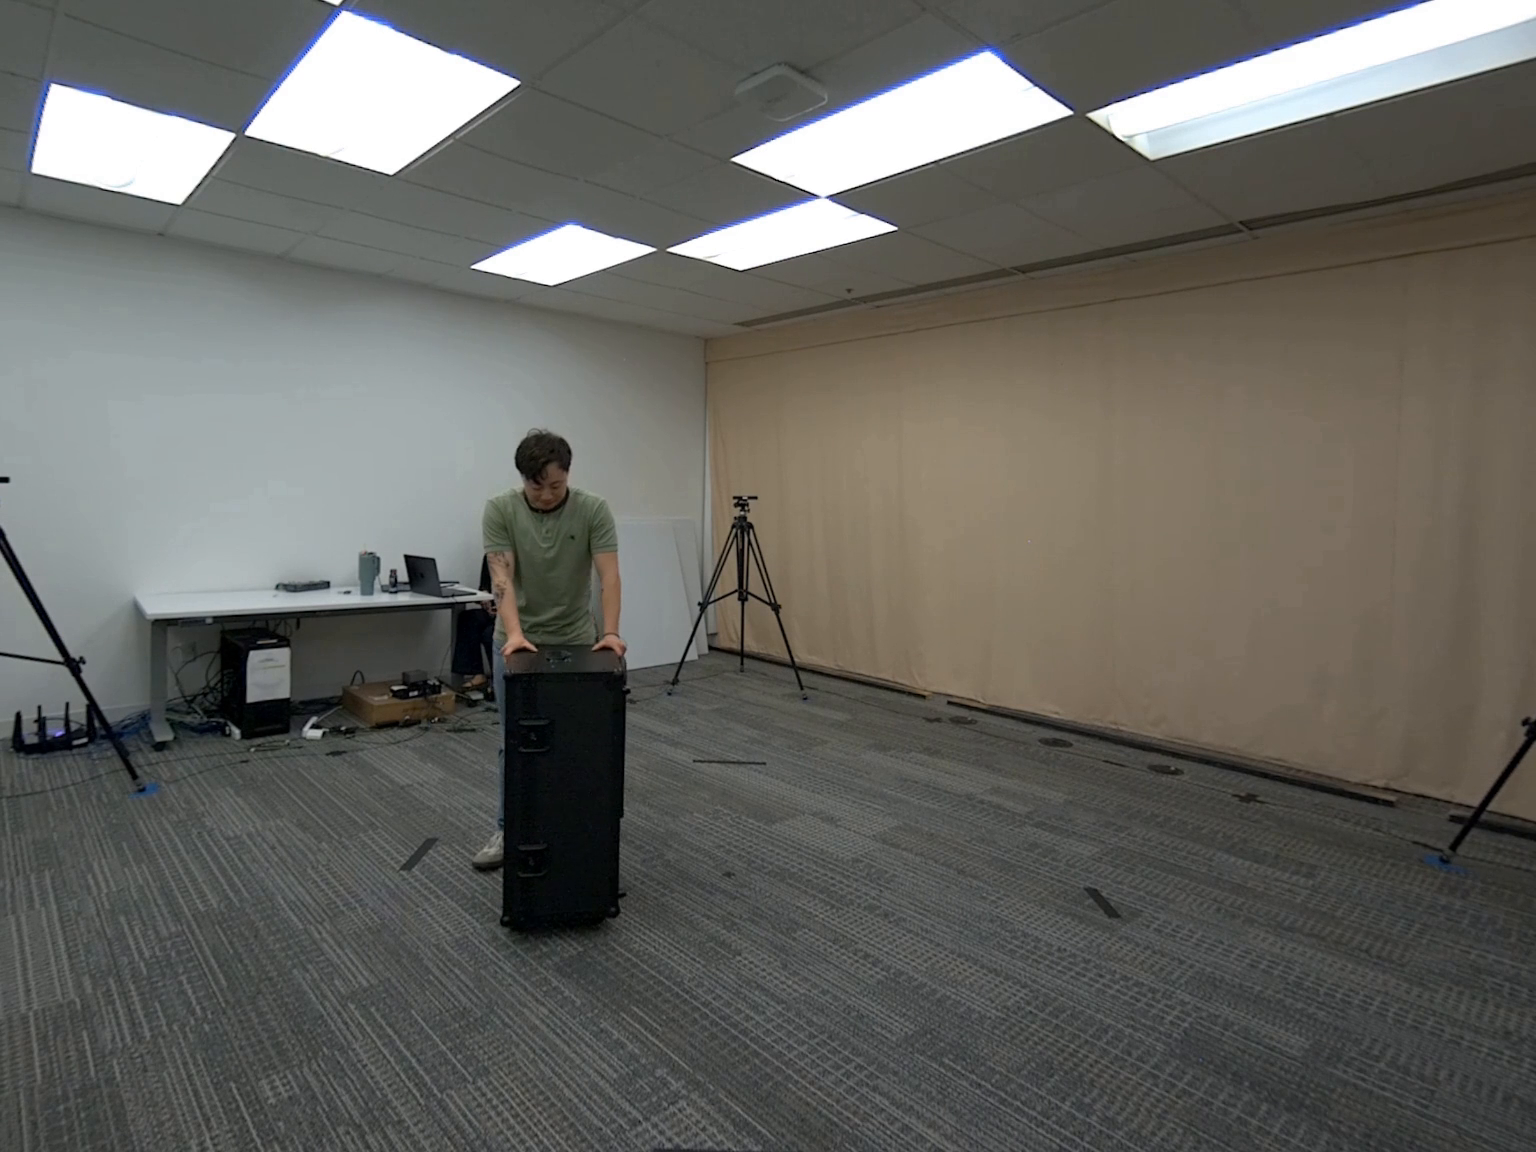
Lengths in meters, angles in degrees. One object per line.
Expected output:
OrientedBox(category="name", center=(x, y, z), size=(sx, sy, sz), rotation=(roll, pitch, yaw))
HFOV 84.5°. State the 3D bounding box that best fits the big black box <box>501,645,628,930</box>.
OrientedBox(category="big black box", center=(-0.683, 0.697, 2.815), size=(0.392, 0.859, 0.528), rotation=(2, 4, -13))
